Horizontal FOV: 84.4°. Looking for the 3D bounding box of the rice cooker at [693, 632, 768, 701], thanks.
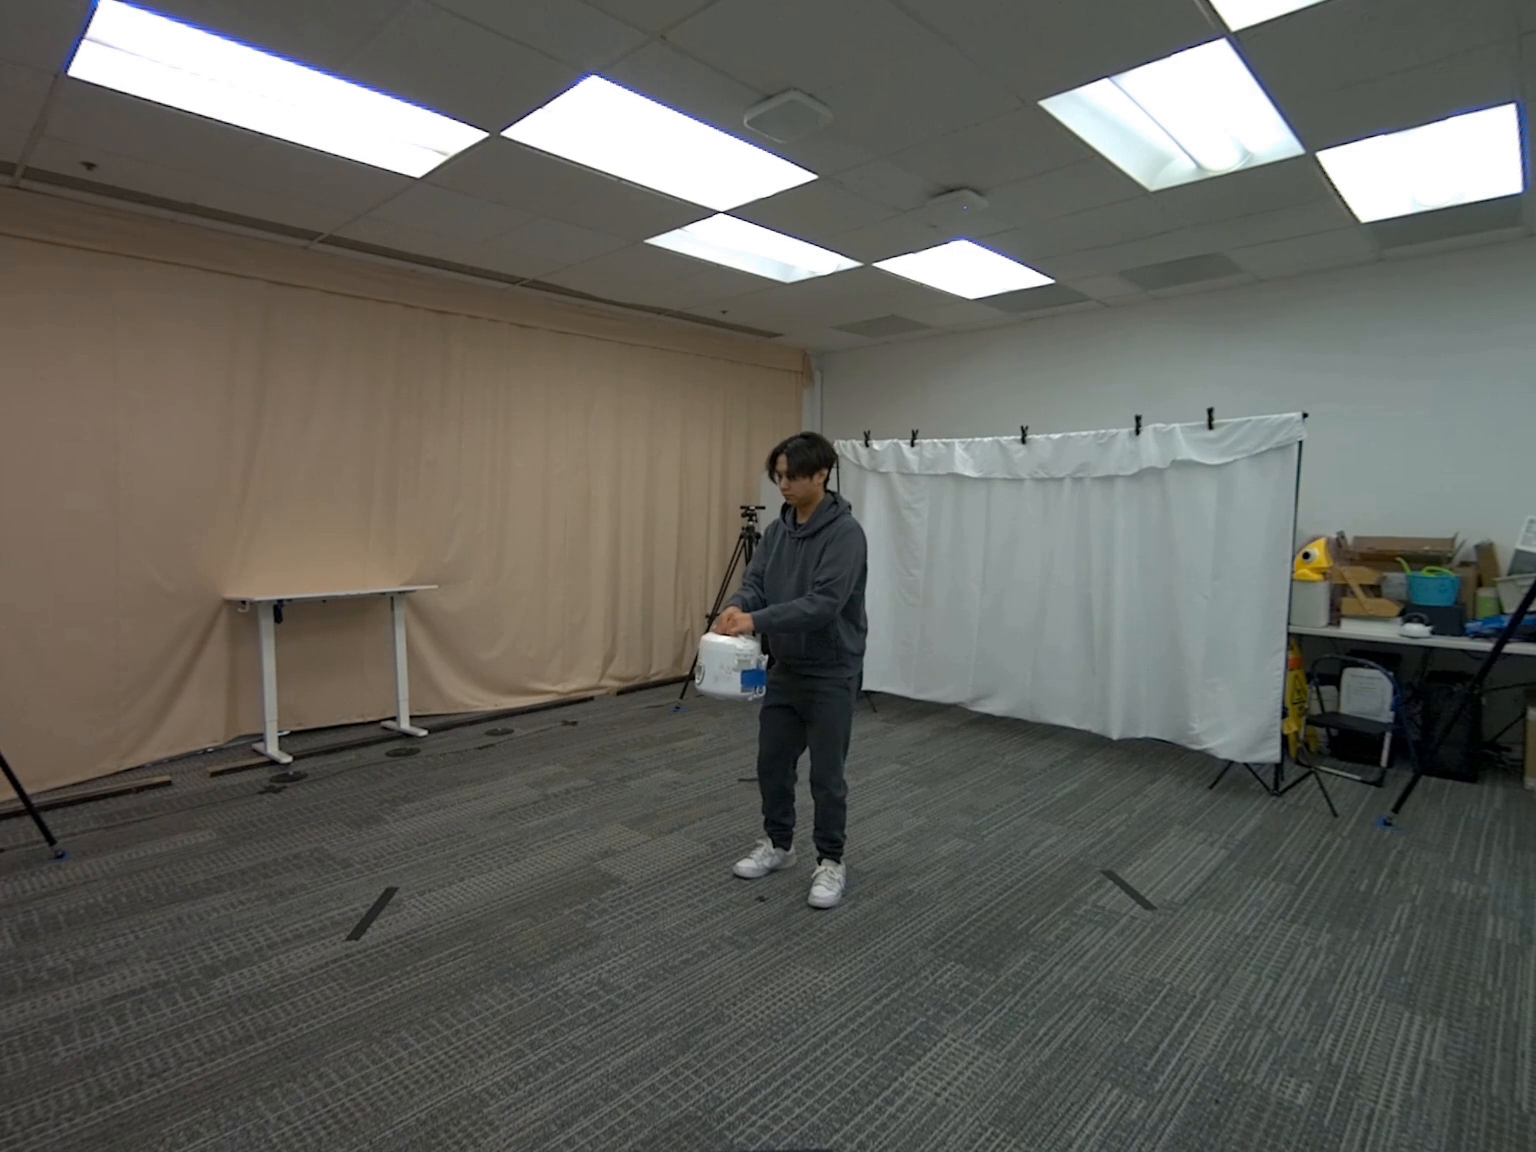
[{"bbox_3d":[-0.126,0.293,2.846,0.212,0.233,0.226,7,0,-27],"label":"rice cooker"}]
